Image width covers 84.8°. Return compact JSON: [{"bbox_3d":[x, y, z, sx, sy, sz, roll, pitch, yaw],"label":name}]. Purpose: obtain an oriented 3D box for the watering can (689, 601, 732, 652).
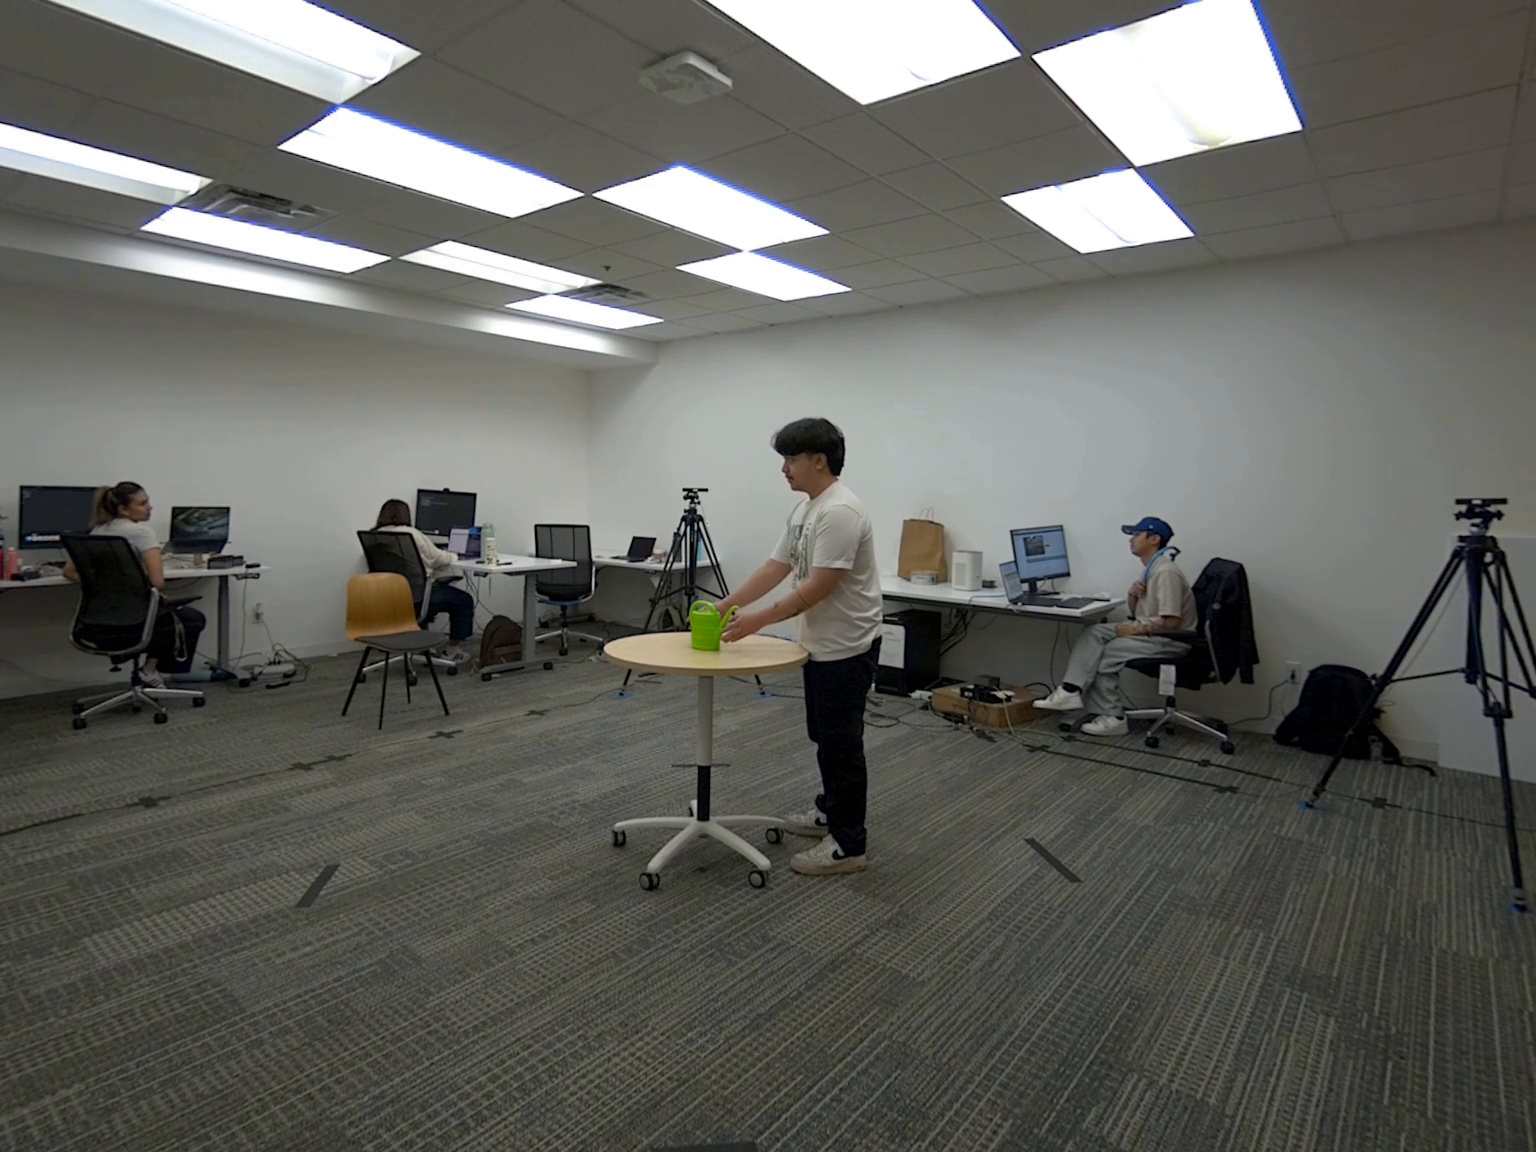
[{"bbox_3d":[-0.224,0.187,3.161,0.096,0.176,0.286,-3,5,-27],"label":"watering can"}]
